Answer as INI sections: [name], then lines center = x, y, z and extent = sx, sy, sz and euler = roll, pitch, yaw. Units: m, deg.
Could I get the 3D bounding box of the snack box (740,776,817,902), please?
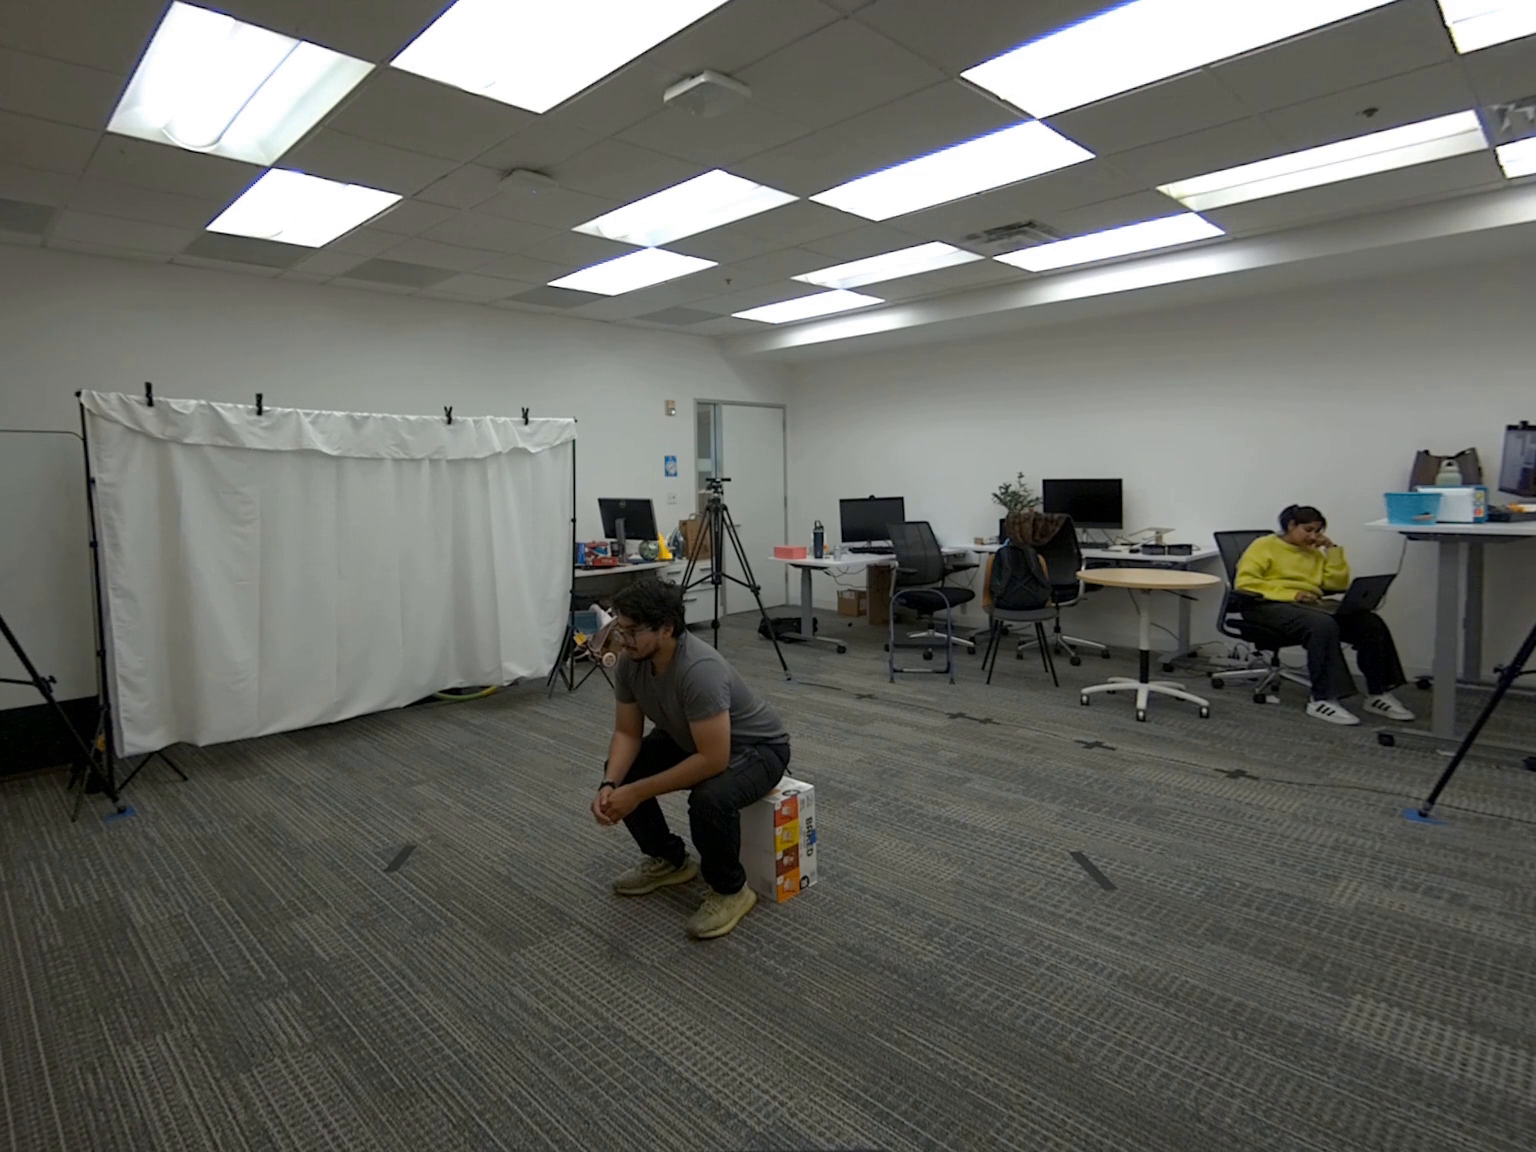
[snack box]
center = -0.043, 0.885, 3.017
extent = 0.200, 0.339, 0.417
euler = -6, 7, -45
